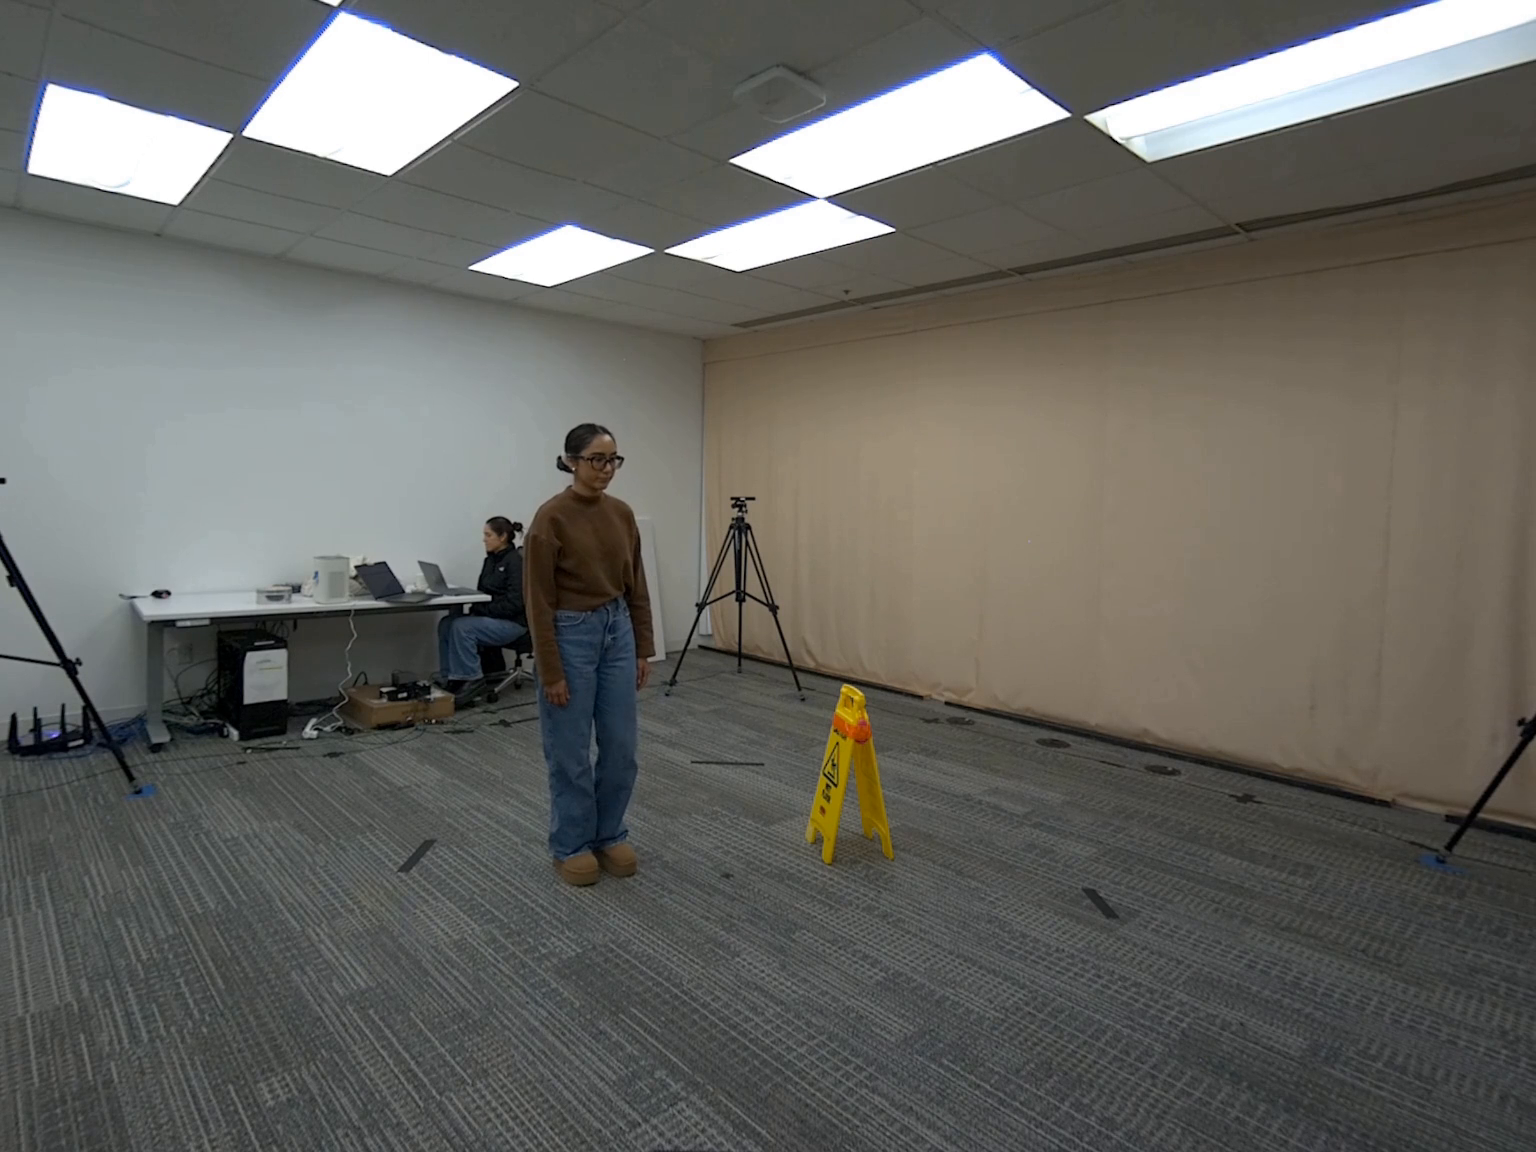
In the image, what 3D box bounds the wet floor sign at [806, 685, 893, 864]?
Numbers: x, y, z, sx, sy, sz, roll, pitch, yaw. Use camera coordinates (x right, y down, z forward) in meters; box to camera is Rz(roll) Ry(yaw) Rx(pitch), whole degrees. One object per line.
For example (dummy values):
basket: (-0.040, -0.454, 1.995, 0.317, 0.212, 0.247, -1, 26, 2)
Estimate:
wet floor sign: (0.324, 0.770, 3.360, 0.286, 0.644, 0.286, 1, 4, -14)
